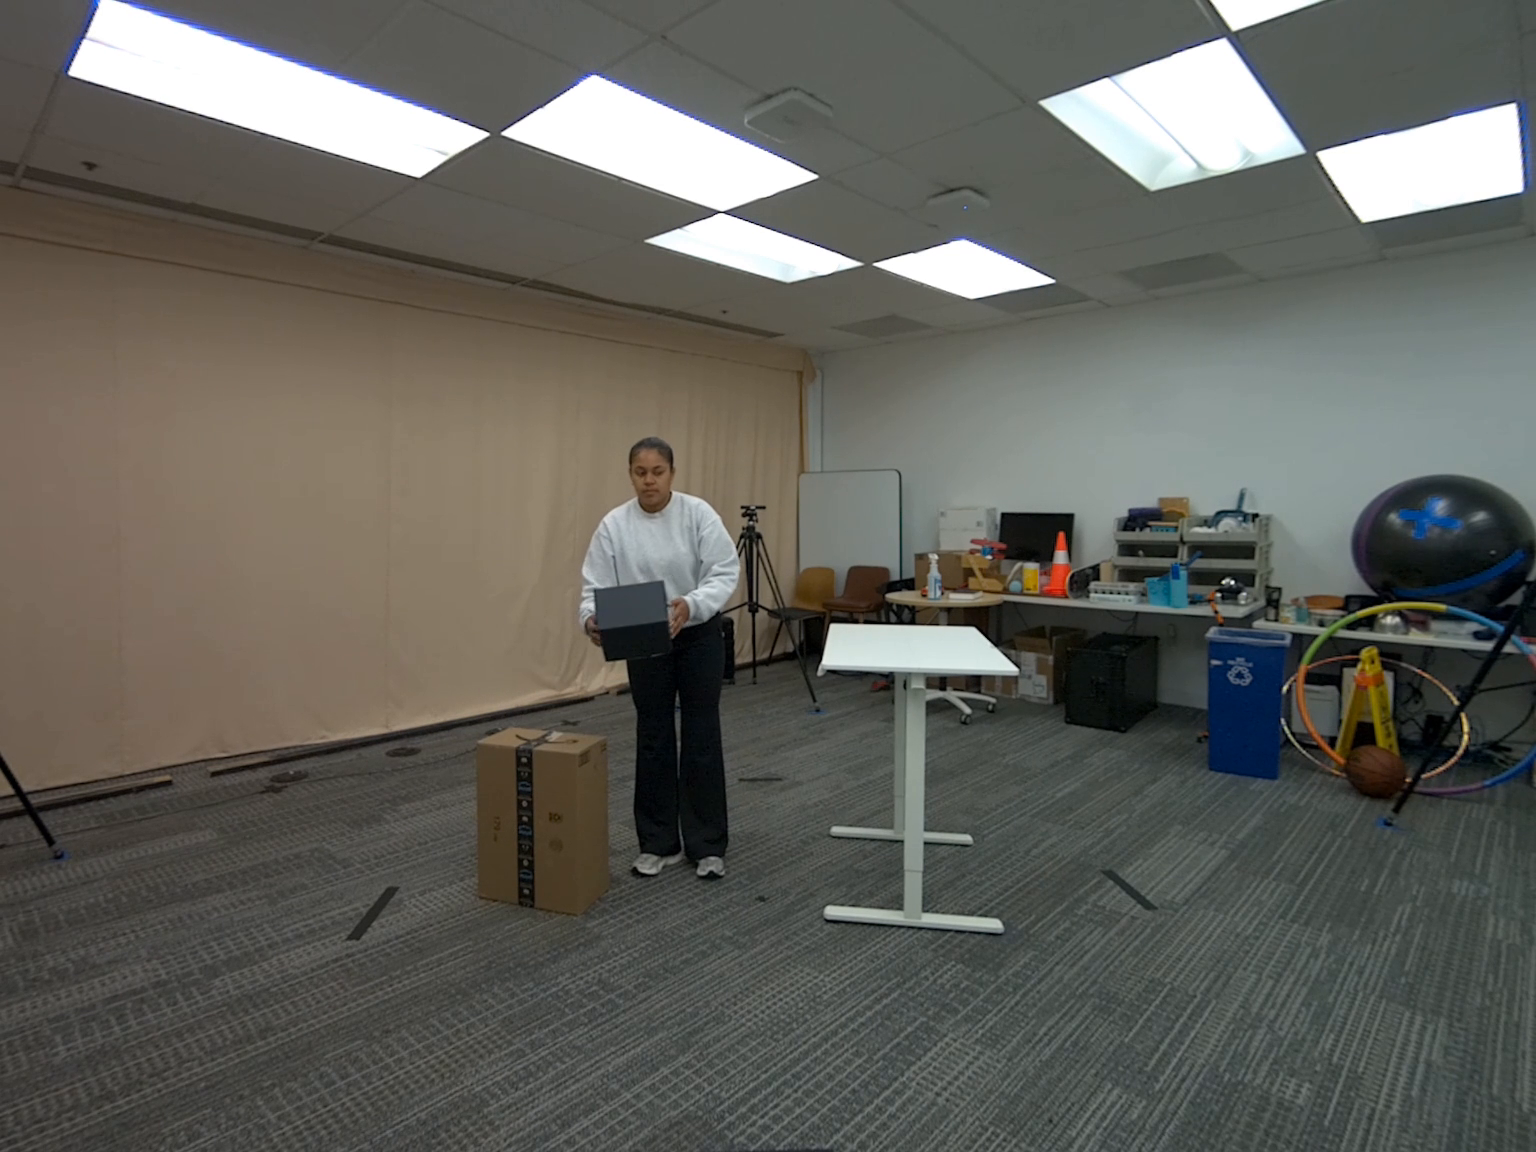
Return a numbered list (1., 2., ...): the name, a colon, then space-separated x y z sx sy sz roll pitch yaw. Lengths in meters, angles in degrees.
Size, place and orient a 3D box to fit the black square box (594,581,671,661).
1. black square box: -0.443 0.148 2.774 0.226 0.159 0.214 -4 -33 -7
